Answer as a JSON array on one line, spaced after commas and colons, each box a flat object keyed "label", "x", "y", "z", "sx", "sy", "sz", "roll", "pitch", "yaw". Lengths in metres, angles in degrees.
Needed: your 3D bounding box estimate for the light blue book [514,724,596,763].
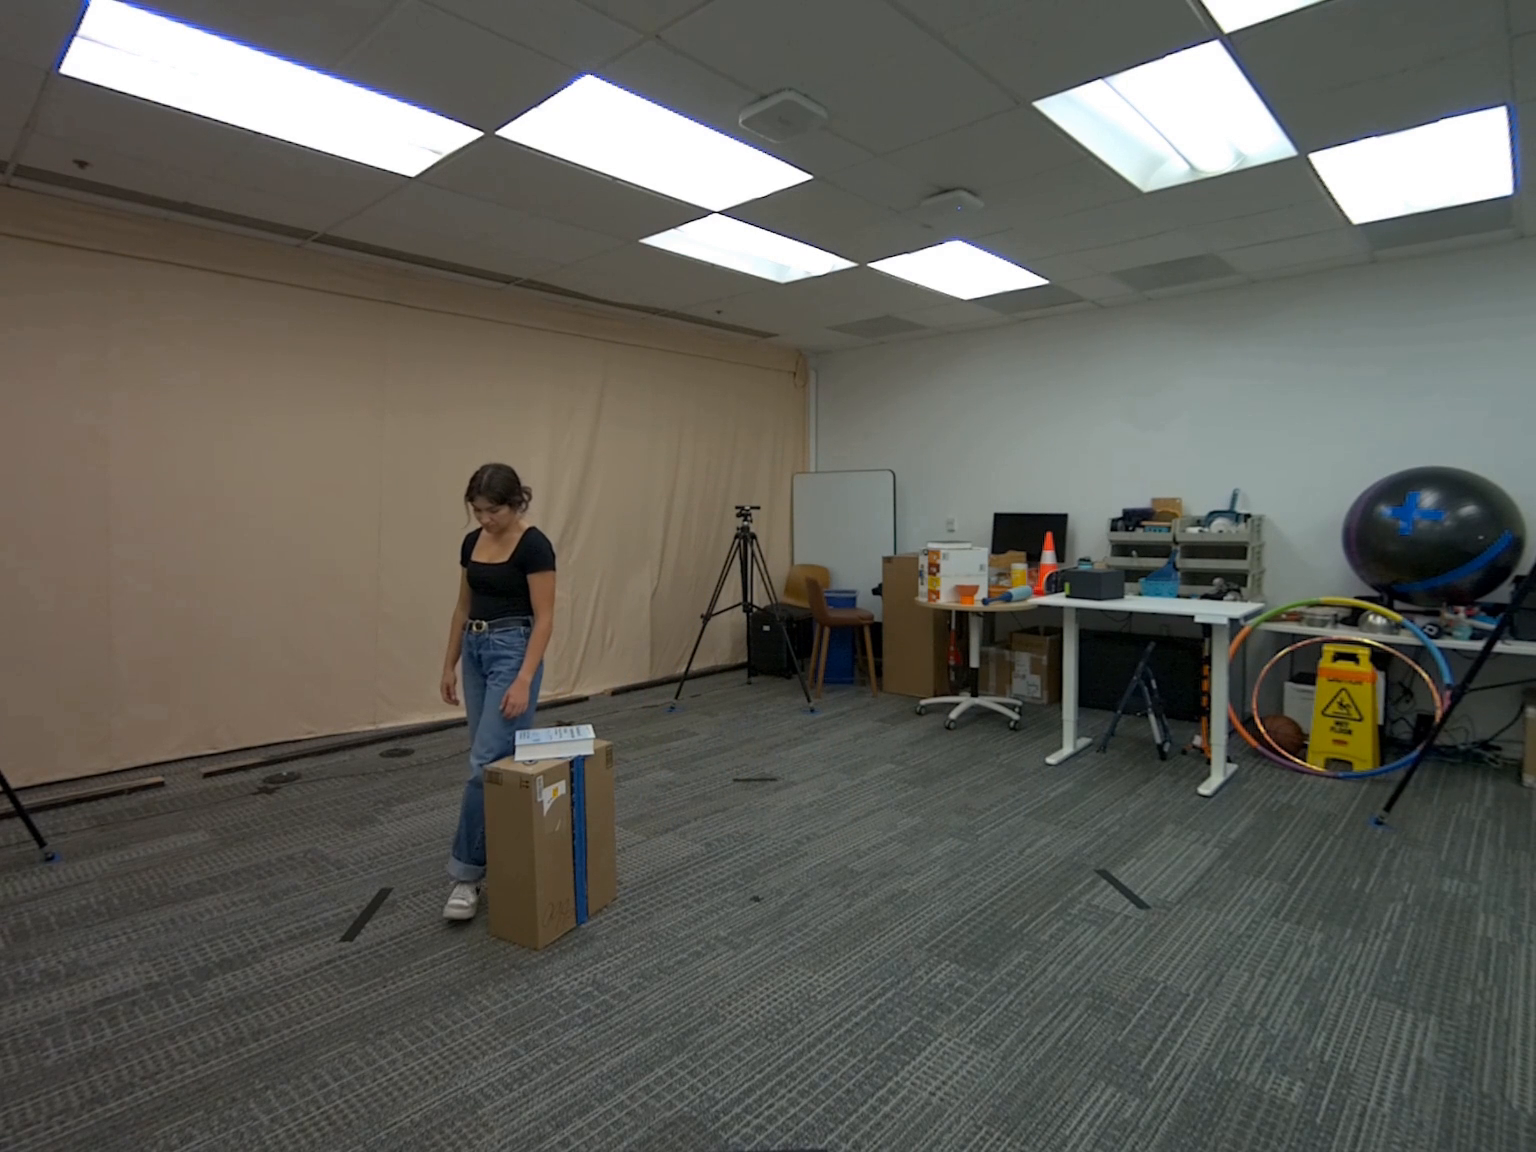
[{"label": "light blue book", "x": -0.736, "y": 0.568, "z": 2.871, "sx": 0.257, "sy": 0.059, "sz": 0.194, "roll": -2, "pitch": 4, "yaw": -14}]
